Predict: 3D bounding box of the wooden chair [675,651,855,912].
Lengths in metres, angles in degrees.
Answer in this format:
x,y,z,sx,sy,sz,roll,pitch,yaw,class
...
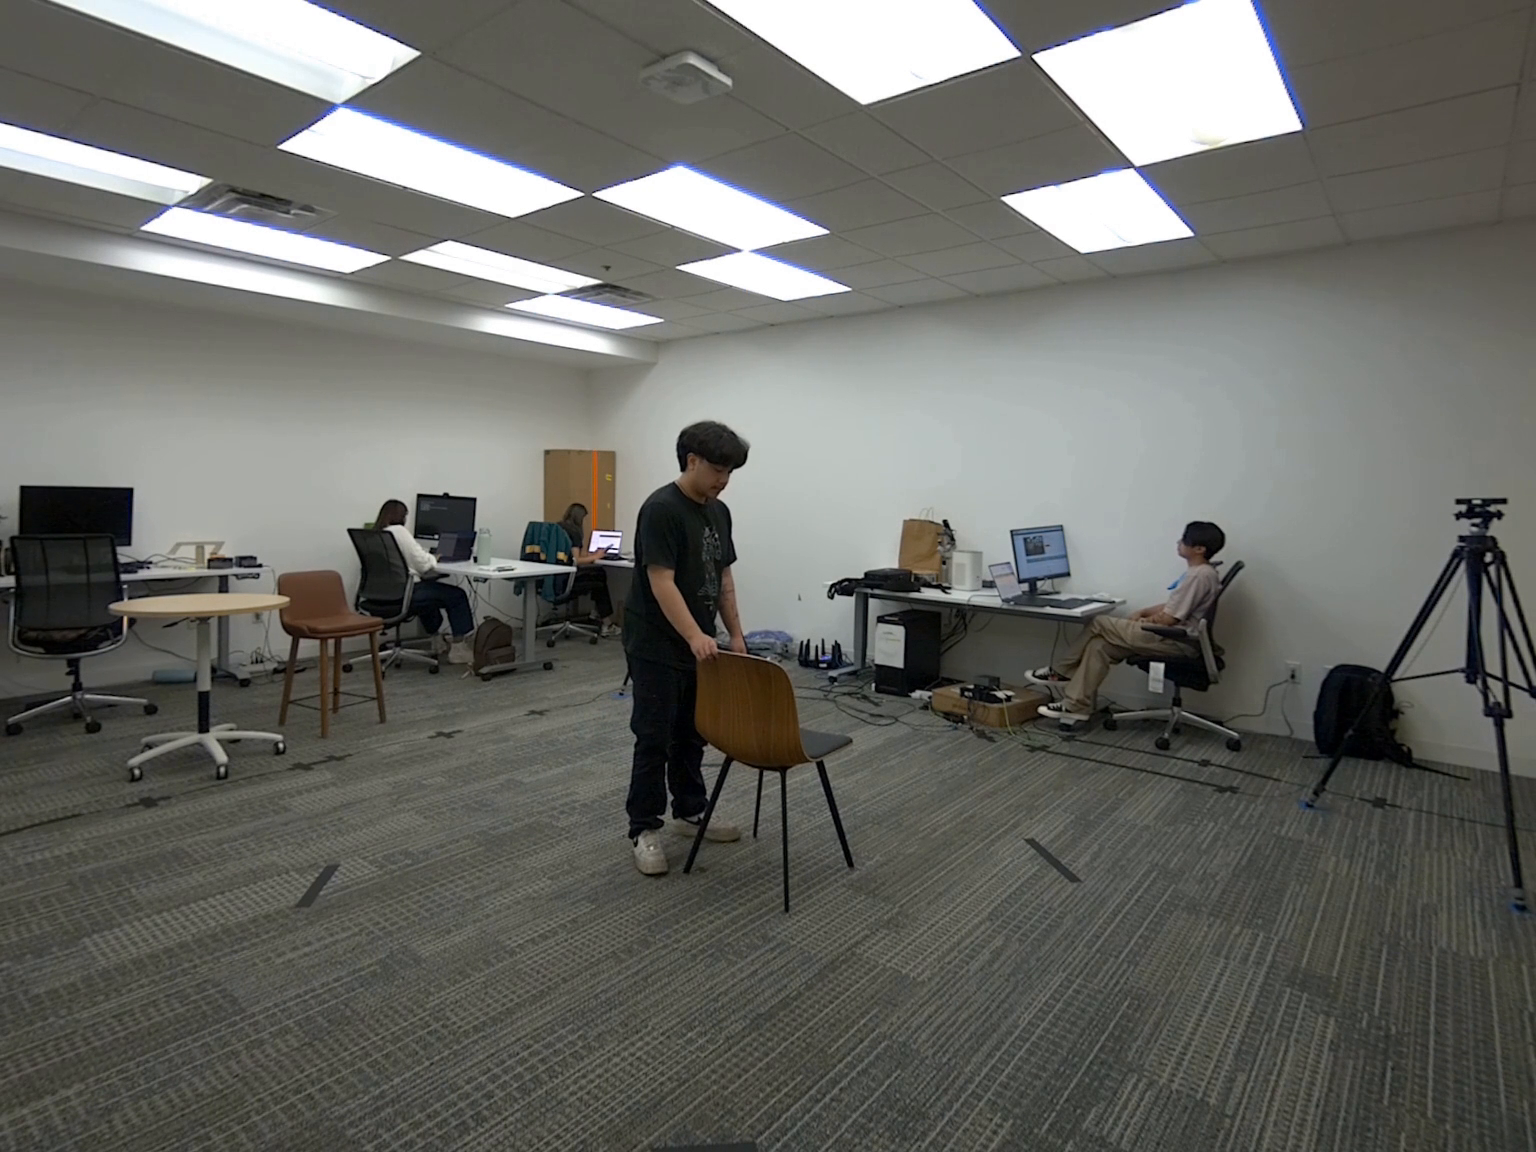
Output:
x,y,z,sx,sy,sz,roll,pitch,yaw,class
0.012,0.647,3.087,0.493,0.872,0.510,3,8,36,wooden chair
